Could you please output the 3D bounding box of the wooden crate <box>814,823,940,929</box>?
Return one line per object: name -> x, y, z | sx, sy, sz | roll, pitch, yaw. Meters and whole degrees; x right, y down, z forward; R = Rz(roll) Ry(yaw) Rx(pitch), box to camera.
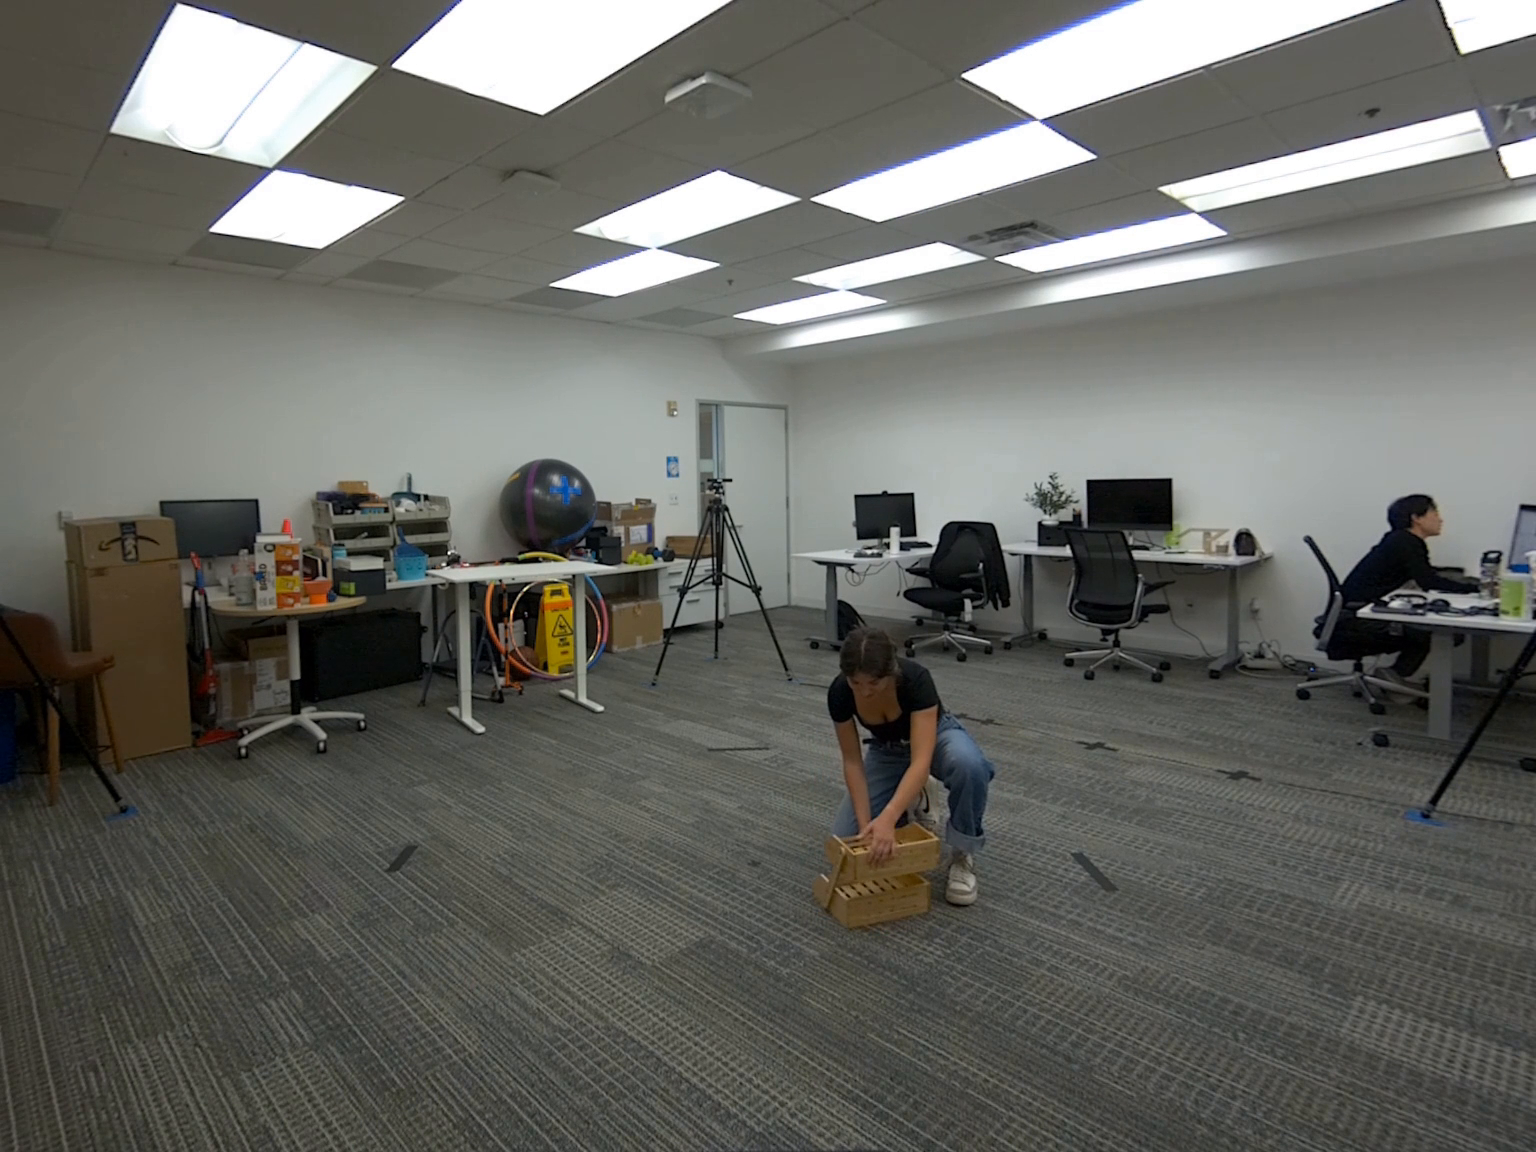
wooden crate -> 0.347, 0.939, 2.777 | 0.318, 0.272, 0.309 | -3, 6, -21
